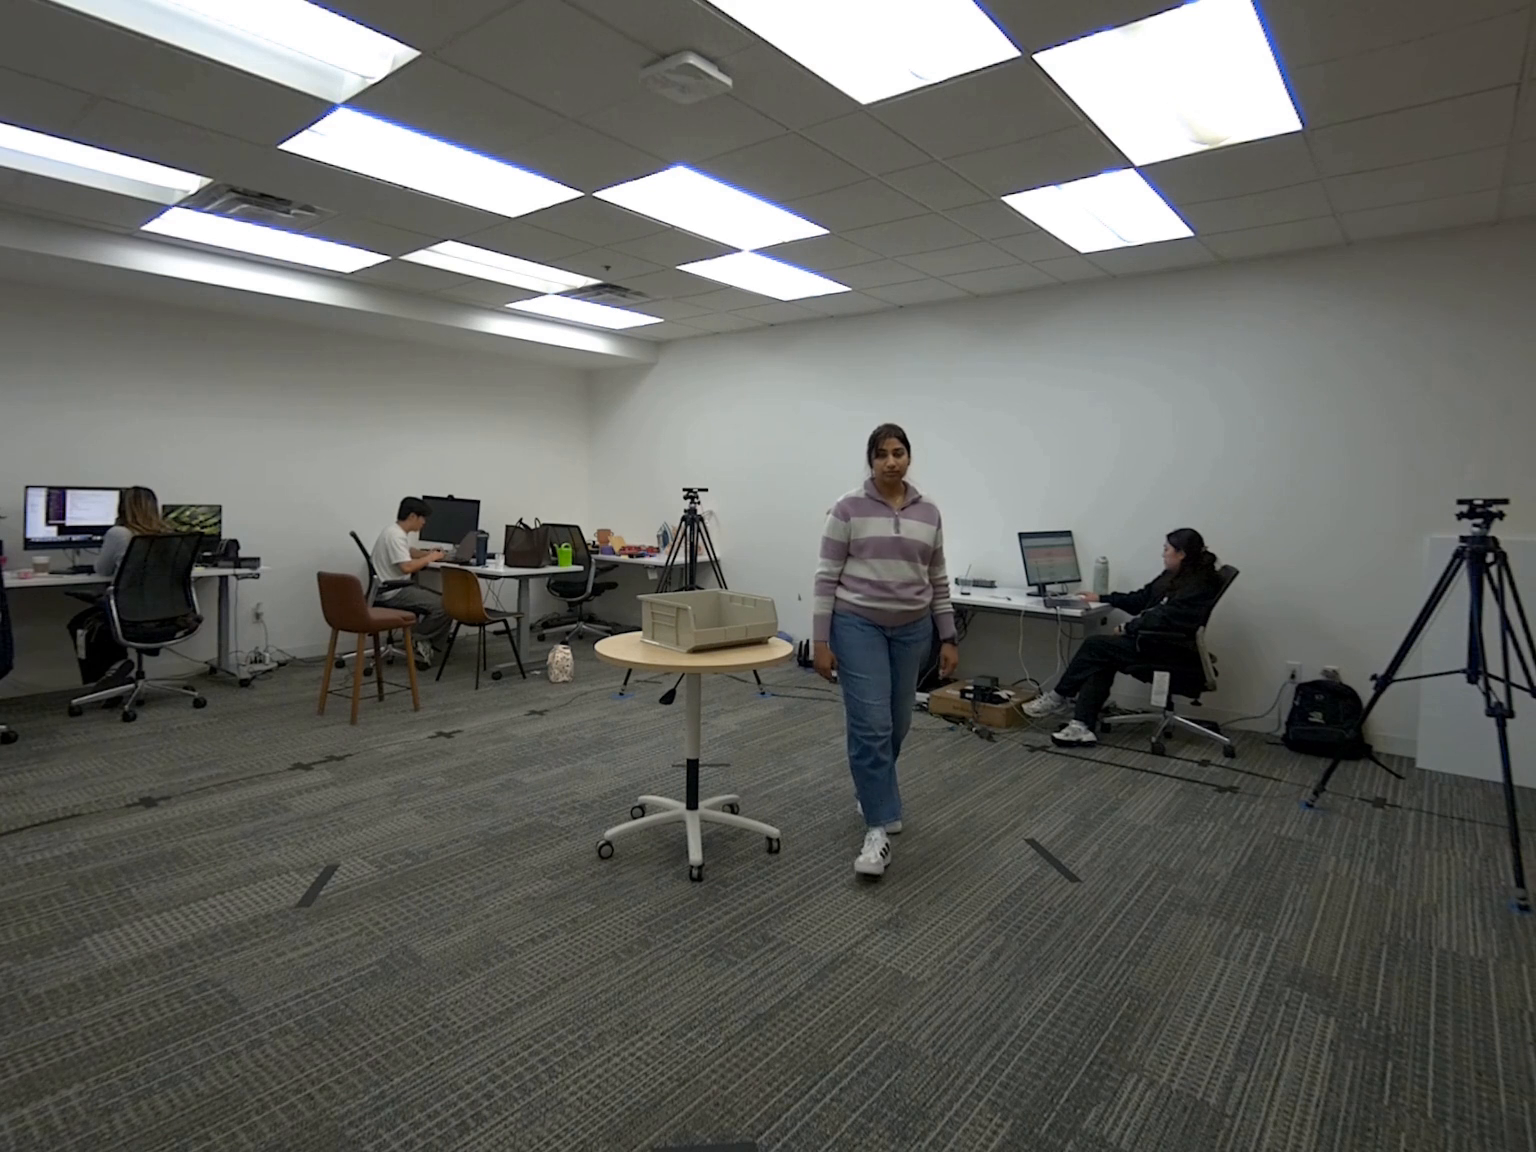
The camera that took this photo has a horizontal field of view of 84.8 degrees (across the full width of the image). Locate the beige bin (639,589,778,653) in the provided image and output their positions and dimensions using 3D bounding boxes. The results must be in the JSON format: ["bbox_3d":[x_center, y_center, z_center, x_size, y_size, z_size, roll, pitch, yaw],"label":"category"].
[{"bbox_3d":[-0.251,0.170,3.361,0.410,0.188,0.390,-4,6,-40],"label":"beige bin"}]
